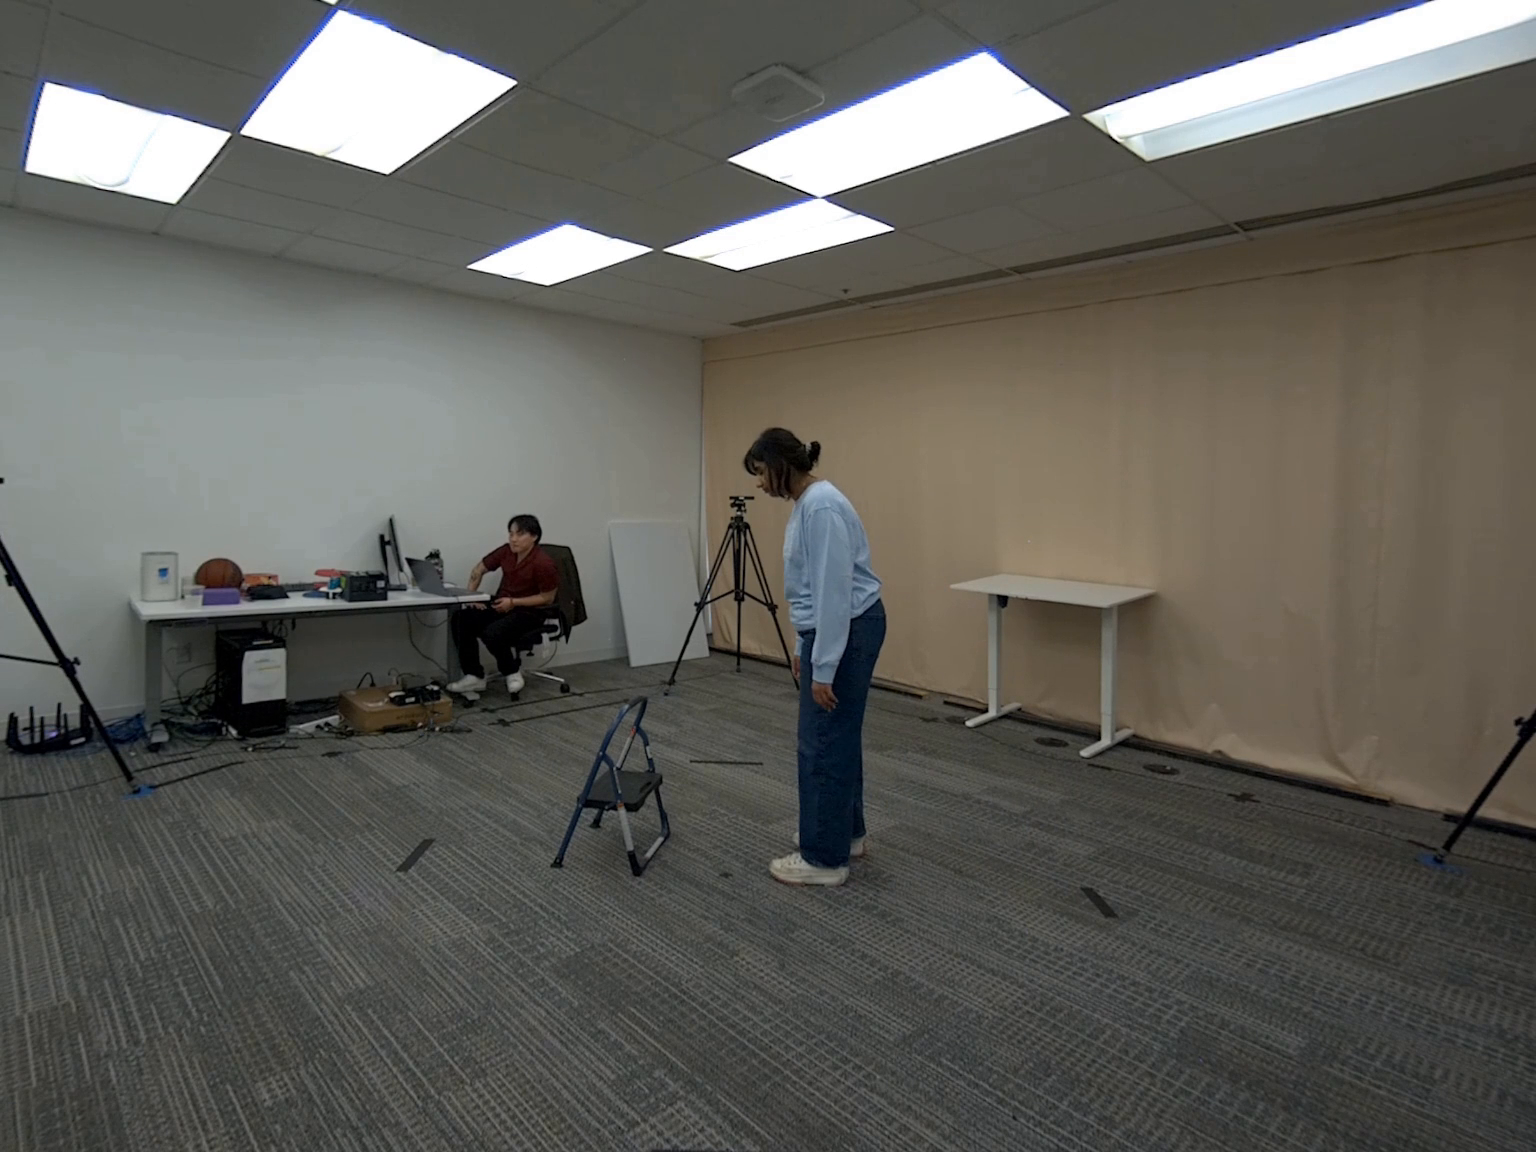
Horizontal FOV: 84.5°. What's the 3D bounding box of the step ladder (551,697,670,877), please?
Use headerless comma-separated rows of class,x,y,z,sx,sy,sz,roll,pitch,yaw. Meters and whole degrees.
step ladder,-0.601,0.770,3.291,0.352,0.604,0.428,2,4,10
